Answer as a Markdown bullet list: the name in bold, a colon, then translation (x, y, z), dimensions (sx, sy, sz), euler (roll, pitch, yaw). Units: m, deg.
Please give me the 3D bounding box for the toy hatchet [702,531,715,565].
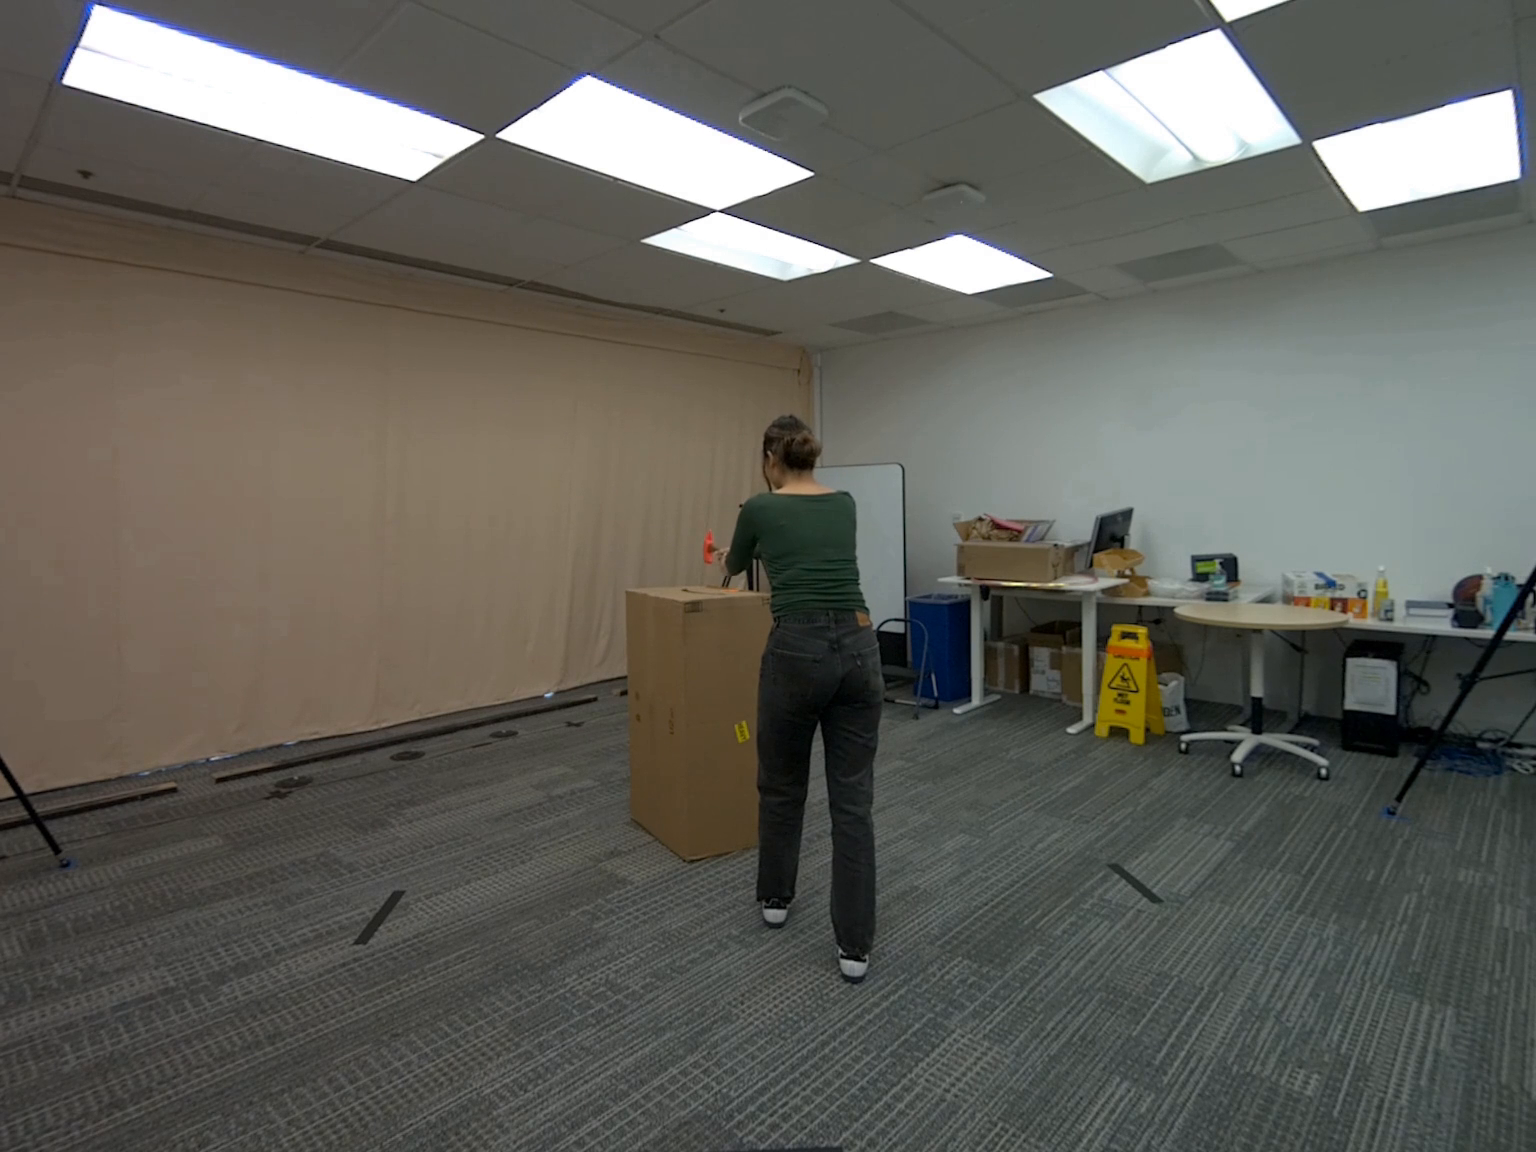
- **toy hatchet**: translation (-0.186, -0.060, 3.303), dimensions (0.029, 0.130, 0.280), euler (1, 34, -36)
